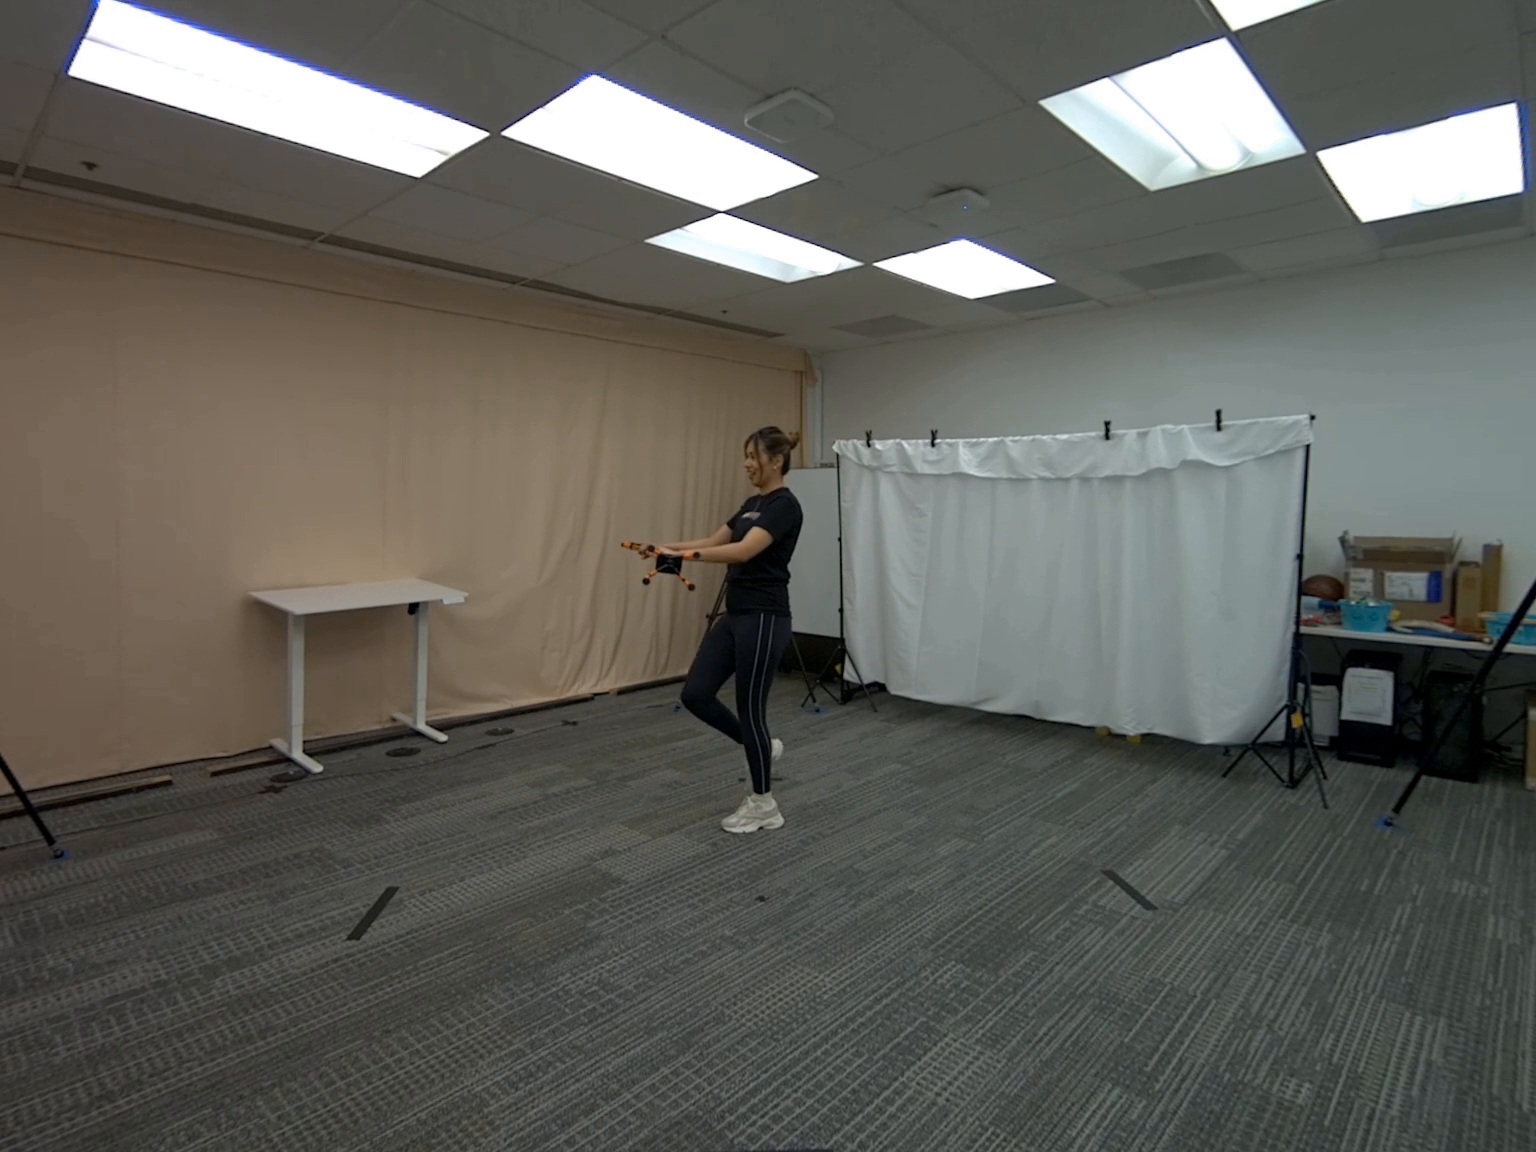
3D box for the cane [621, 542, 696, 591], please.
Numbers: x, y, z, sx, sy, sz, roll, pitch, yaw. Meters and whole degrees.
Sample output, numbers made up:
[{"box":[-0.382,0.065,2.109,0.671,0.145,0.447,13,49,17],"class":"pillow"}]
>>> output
[{"box":[-0.512,-0.075,3.593,0.203,0.151,0.924,7,5,-15],"class":"cane"}]
